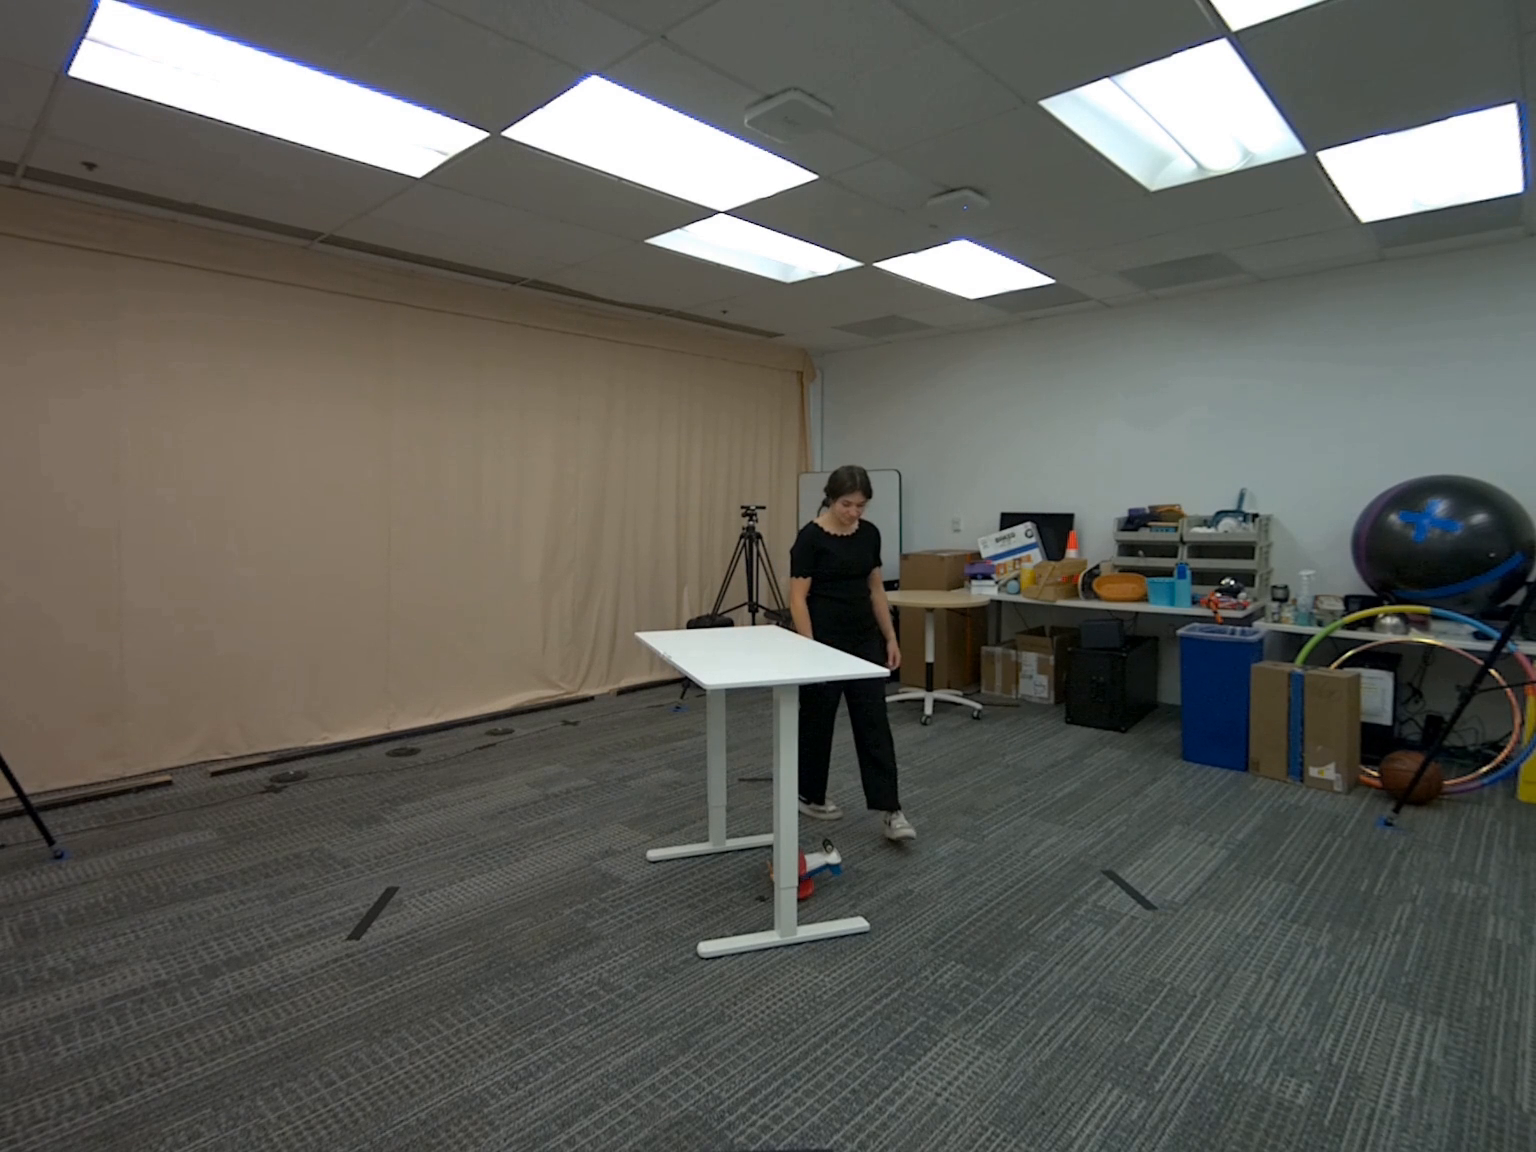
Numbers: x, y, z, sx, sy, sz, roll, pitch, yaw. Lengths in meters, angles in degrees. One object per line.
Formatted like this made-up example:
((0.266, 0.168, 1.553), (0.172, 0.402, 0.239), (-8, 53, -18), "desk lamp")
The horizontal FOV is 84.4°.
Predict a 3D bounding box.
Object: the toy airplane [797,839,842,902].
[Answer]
((0.136, 1.055, 3.054), (0.265, 0.156, 0.246), (-2, 6, 22), "toy airplane")
